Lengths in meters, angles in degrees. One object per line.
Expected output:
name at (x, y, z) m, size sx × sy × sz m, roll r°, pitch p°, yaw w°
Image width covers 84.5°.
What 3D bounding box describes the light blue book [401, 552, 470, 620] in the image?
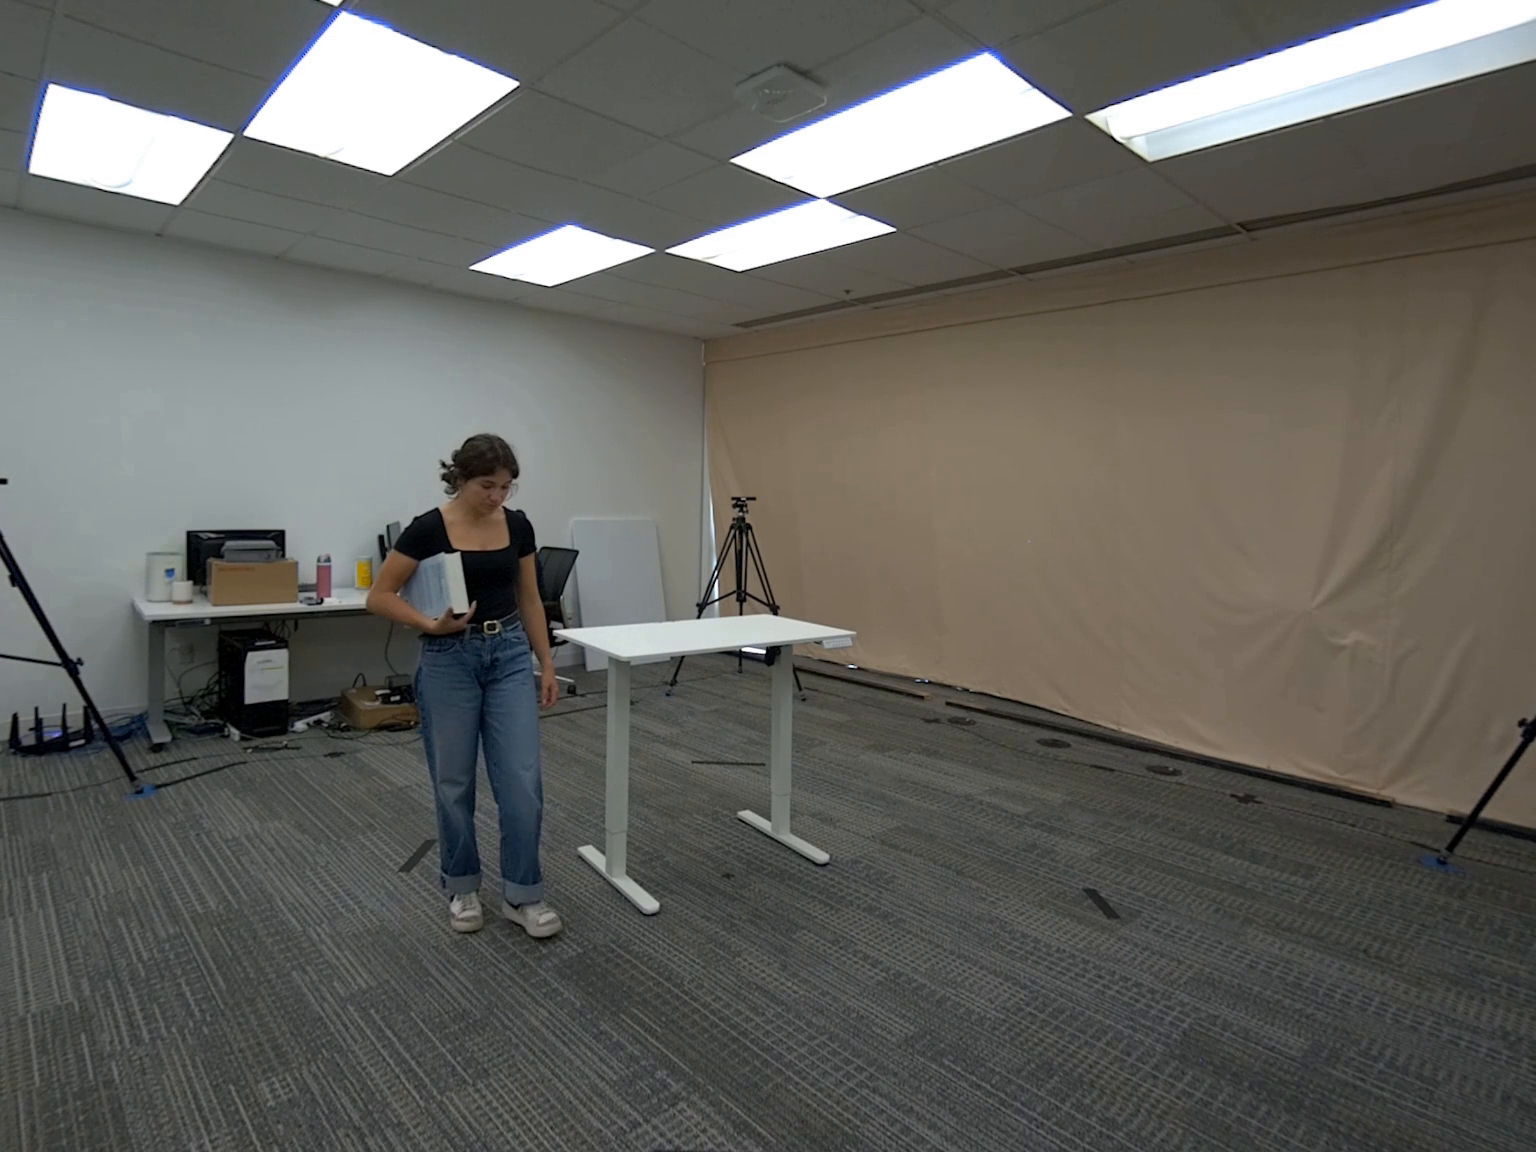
light blue book at (-1.052, 0.043, 2.583) m, size 0.265 × 0.193 × 0.058 m, roll -15°, pitch -10°, yaw 33°
